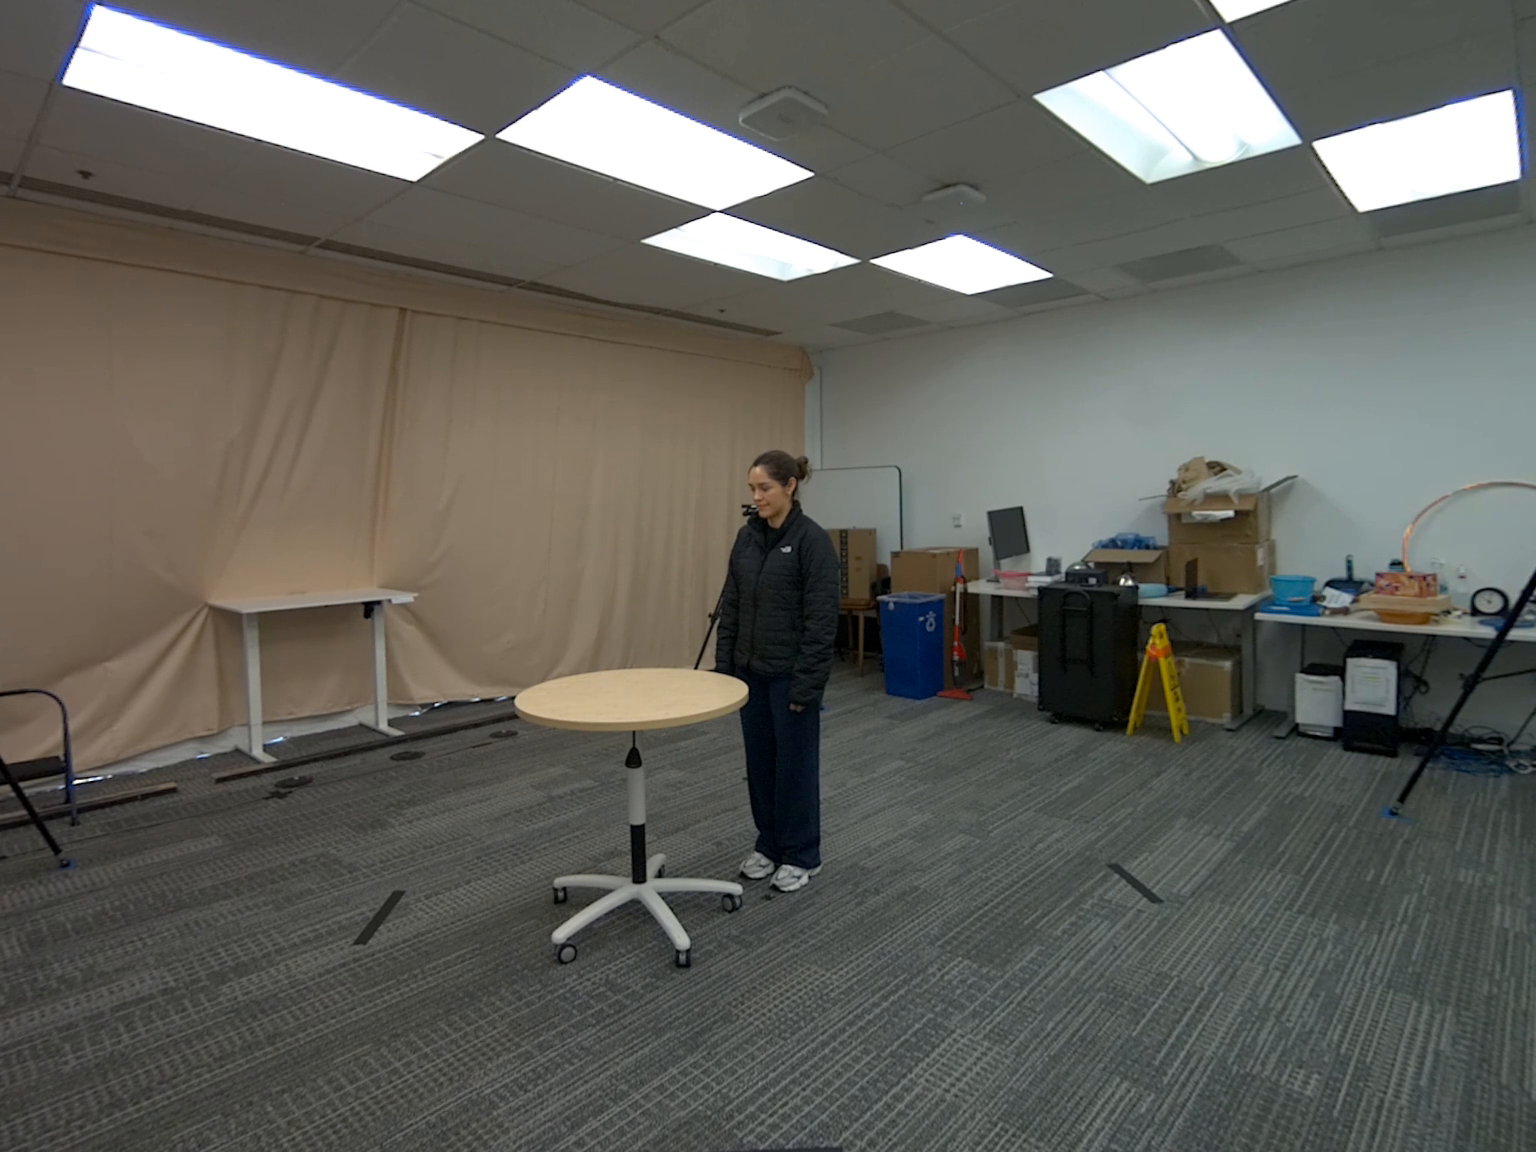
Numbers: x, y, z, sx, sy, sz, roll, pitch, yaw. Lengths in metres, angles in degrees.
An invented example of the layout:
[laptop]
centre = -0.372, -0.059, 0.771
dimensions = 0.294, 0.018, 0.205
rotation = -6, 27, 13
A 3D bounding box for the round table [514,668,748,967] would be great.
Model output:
[round table]
centre = -0.412, 0.771, 2.805
dimensions = 0.784, 0.784, 0.788
rotation = -2, 4, -2
